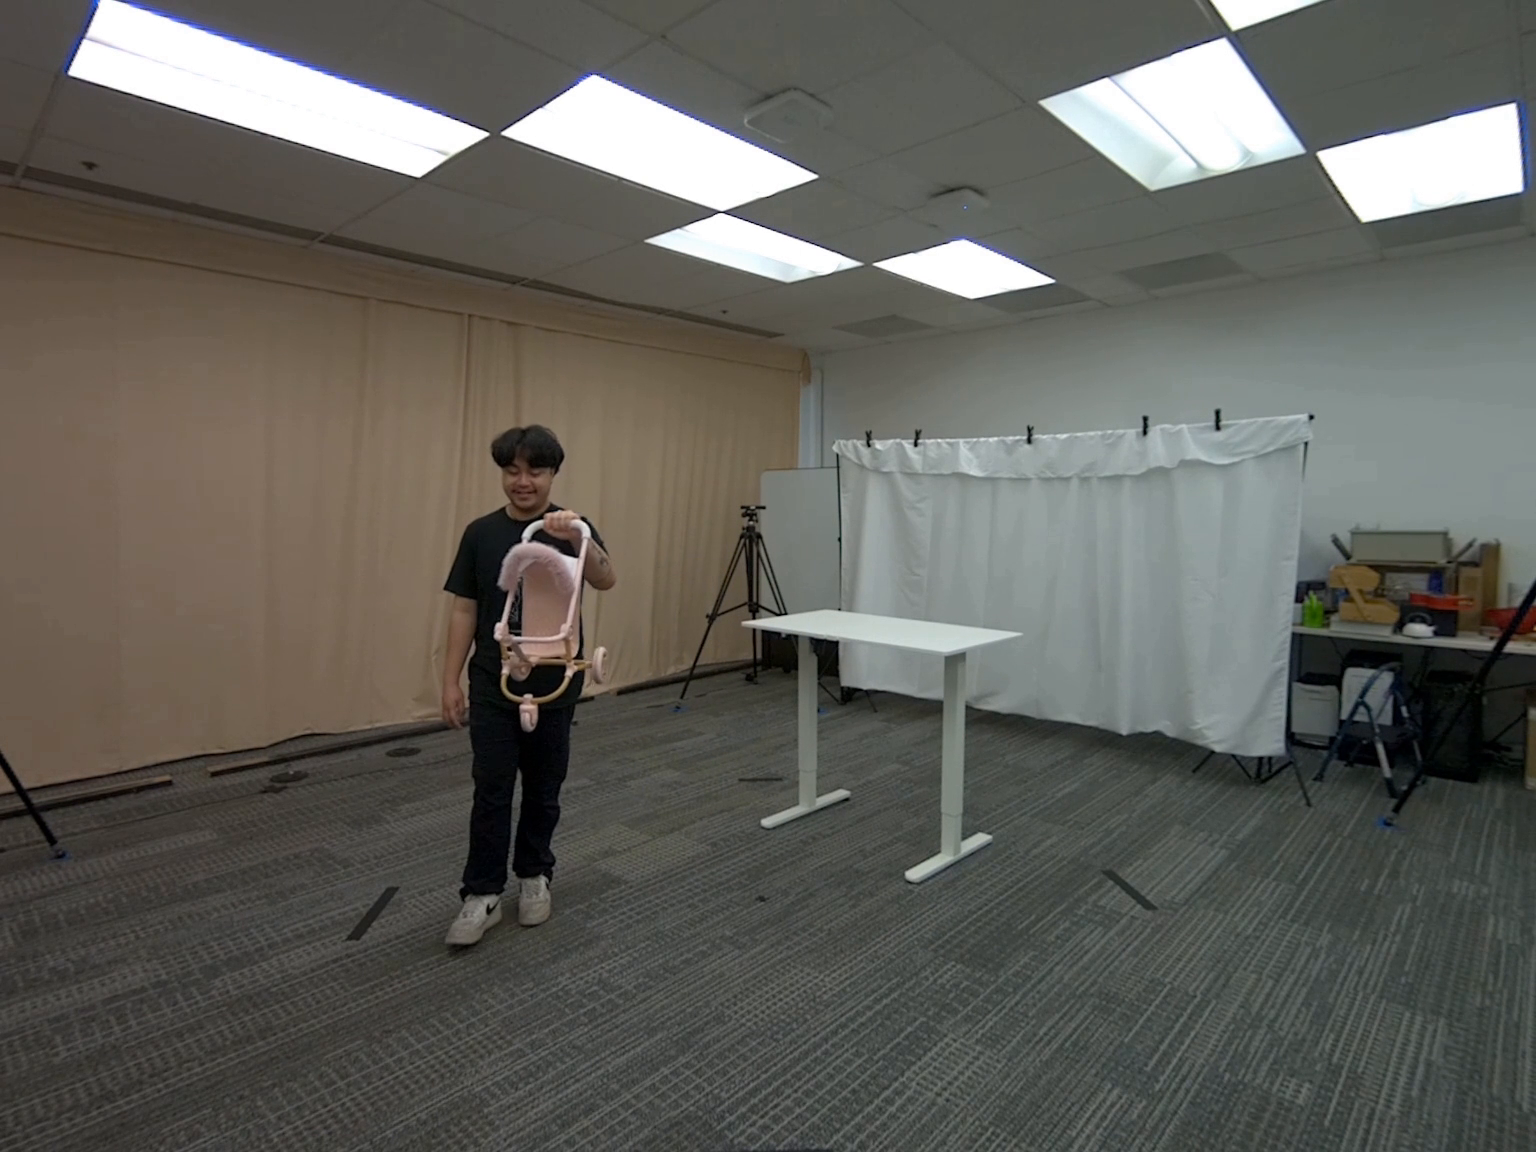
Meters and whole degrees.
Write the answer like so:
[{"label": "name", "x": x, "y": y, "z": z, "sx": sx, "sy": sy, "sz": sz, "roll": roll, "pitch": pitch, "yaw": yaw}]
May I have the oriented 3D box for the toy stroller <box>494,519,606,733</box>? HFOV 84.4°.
[{"label": "toy stroller", "x": -0.637, "y": 0.134, "z": 2.372, "sx": 0.286, "sy": 0.531, "sz": 0.338, "roll": 2, "pitch": 11, "yaw": 13}]
